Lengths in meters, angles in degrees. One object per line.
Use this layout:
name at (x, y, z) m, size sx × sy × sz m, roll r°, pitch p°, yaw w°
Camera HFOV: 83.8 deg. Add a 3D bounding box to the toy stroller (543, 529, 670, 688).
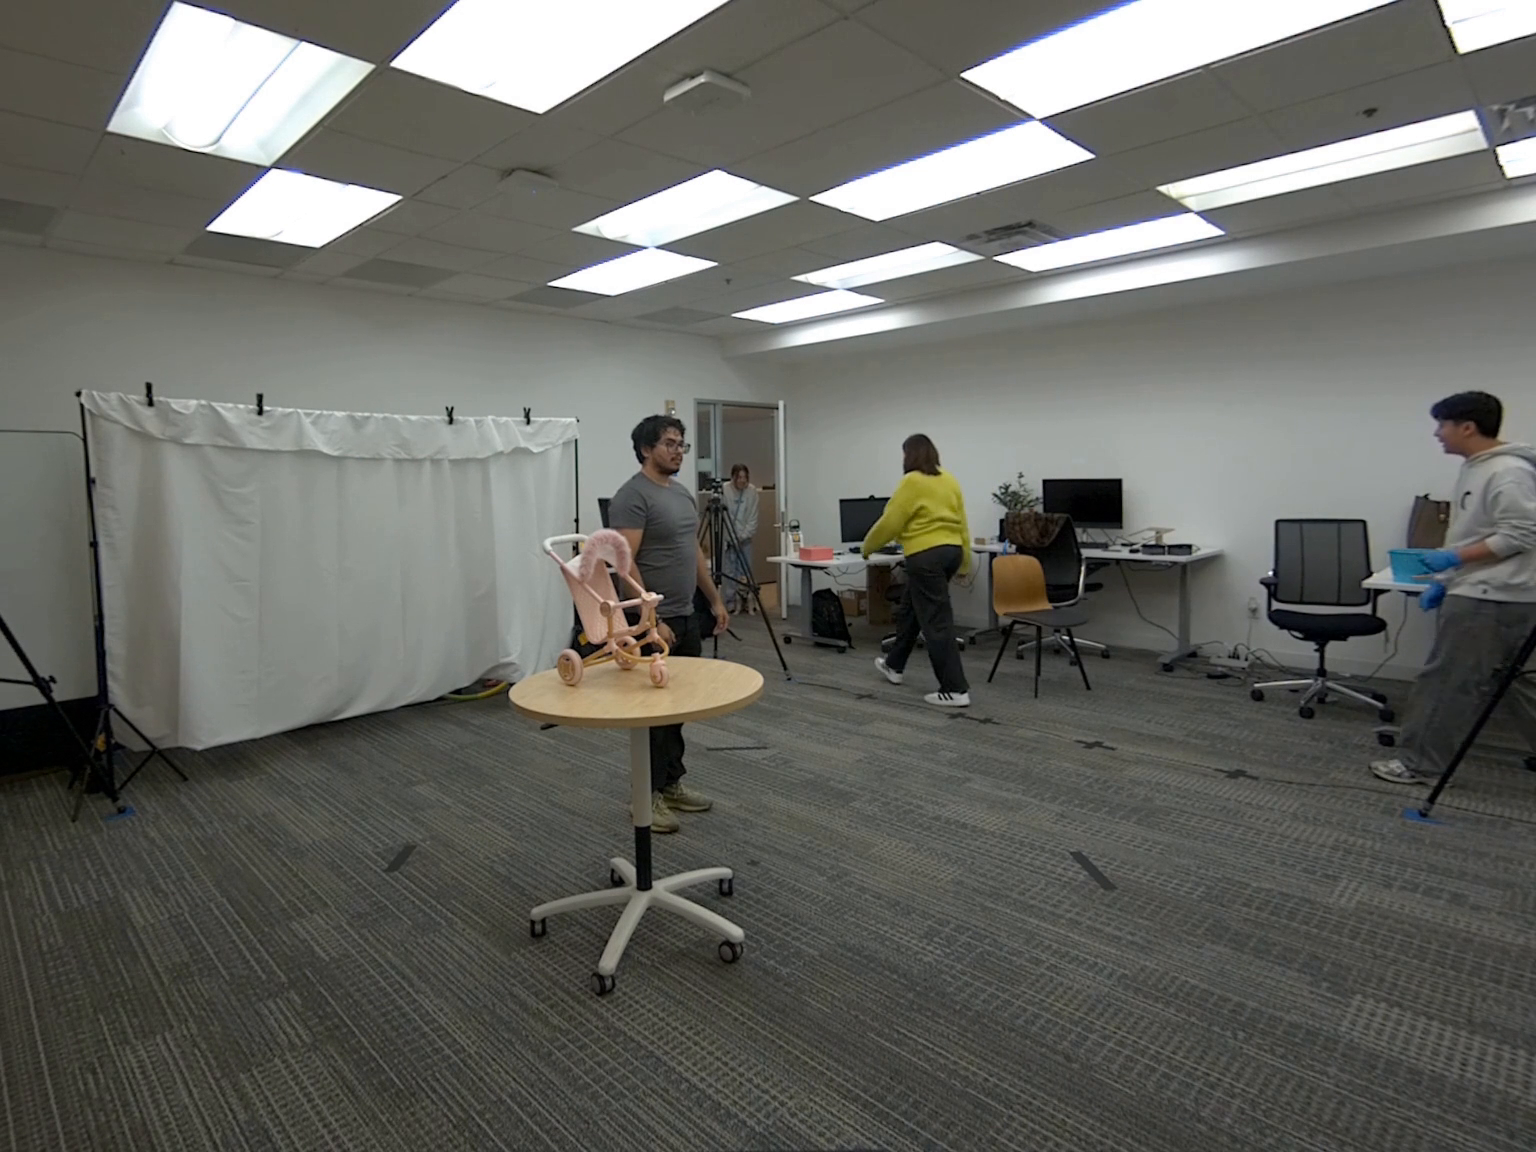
toy stroller at (-0.490, 0.101, 2.638) m, size 0.348 × 0.538 × 0.274 m, roll -18°, pitch -7°, yaw 41°
